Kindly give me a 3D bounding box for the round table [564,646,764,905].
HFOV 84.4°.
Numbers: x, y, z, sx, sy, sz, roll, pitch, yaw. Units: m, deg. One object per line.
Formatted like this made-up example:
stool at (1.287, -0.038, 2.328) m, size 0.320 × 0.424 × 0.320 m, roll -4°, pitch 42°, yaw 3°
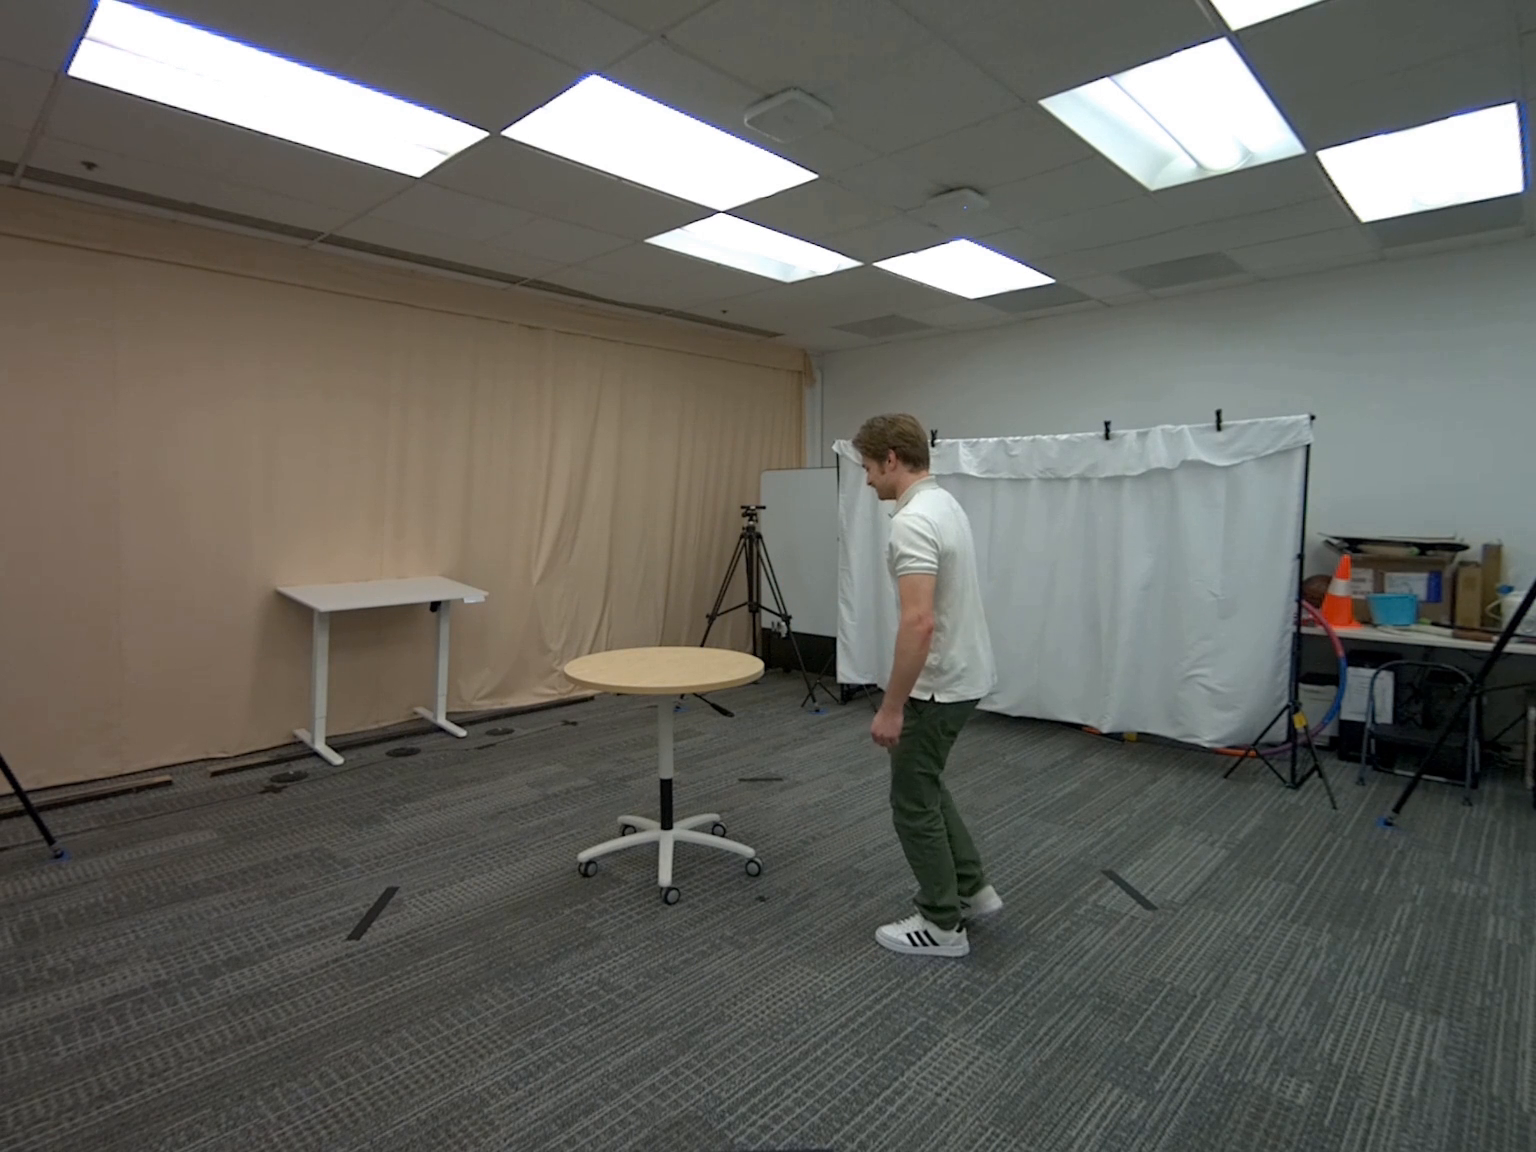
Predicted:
round table at (-0.387, 0.734, 3.265) m, size 0.763 × 0.792 × 0.767 m, roll -1°, pitch 4°, yaw -2°
